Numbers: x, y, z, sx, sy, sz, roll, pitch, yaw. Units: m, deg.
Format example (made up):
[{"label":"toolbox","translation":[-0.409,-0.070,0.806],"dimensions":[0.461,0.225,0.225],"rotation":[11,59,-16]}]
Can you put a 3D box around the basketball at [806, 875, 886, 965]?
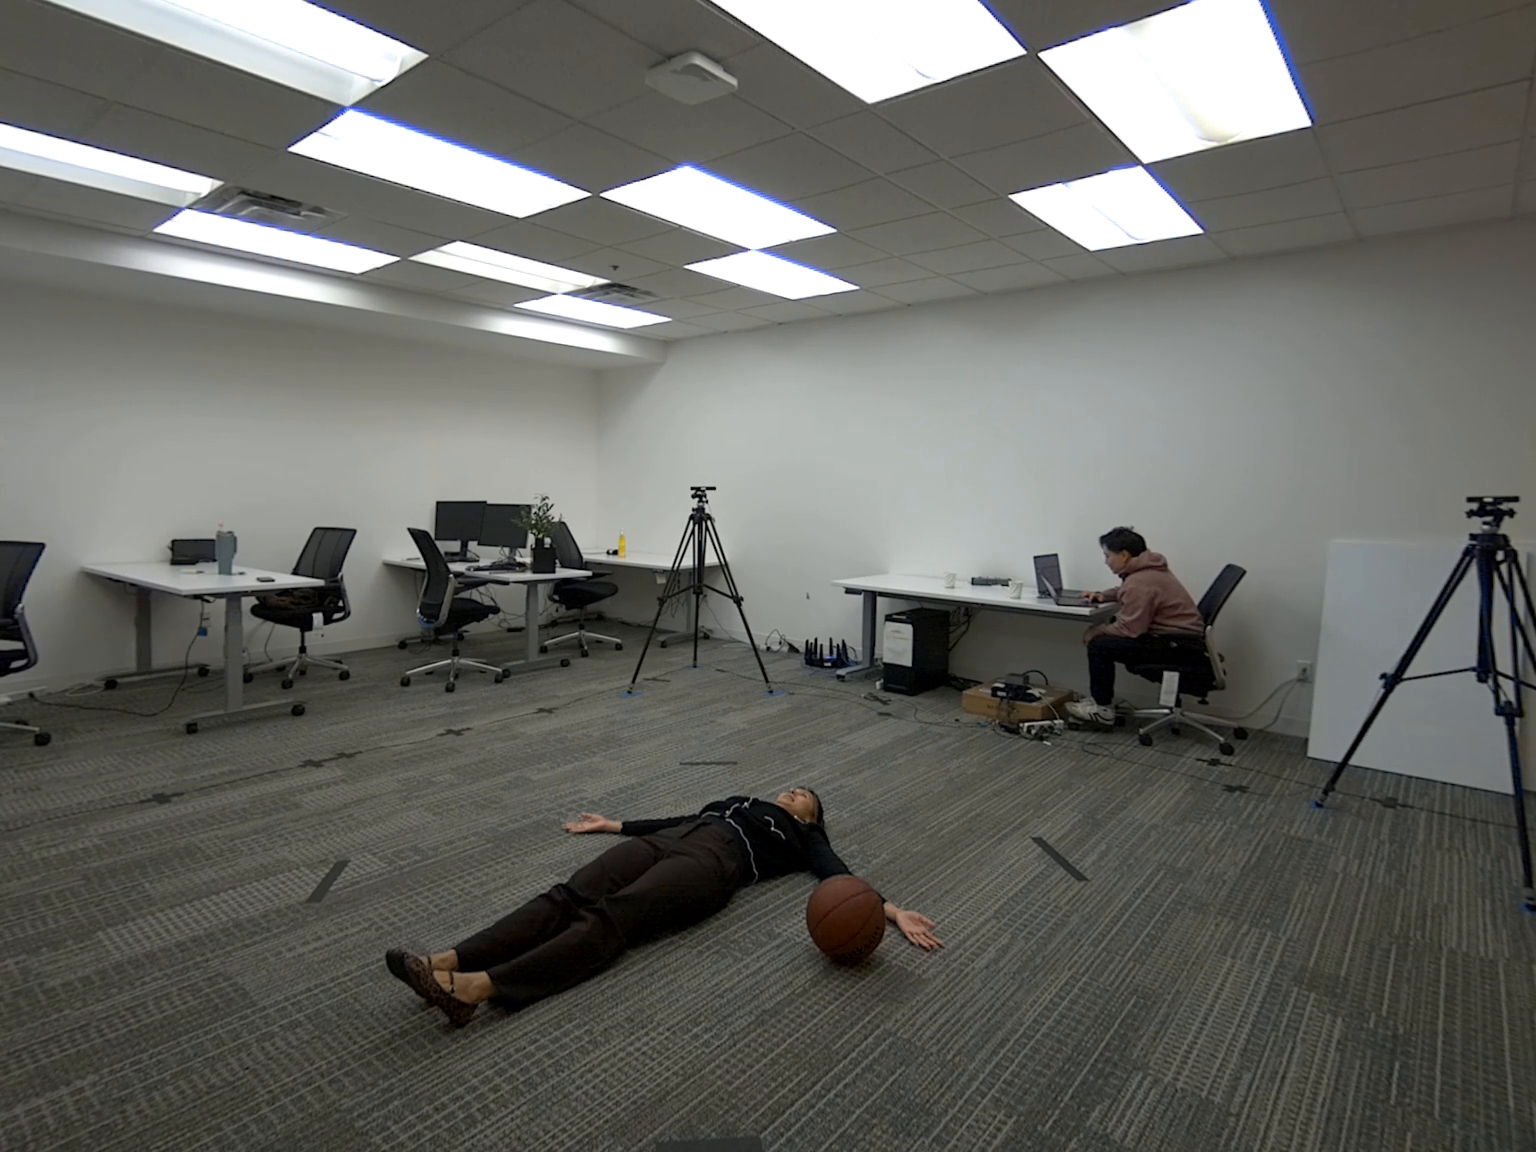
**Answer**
[{"label":"basketball","translation":[0.229,1.011,2.535],"dimensions":[0.236,0.235,0.237],"rotation":[1,4,-2]}]
